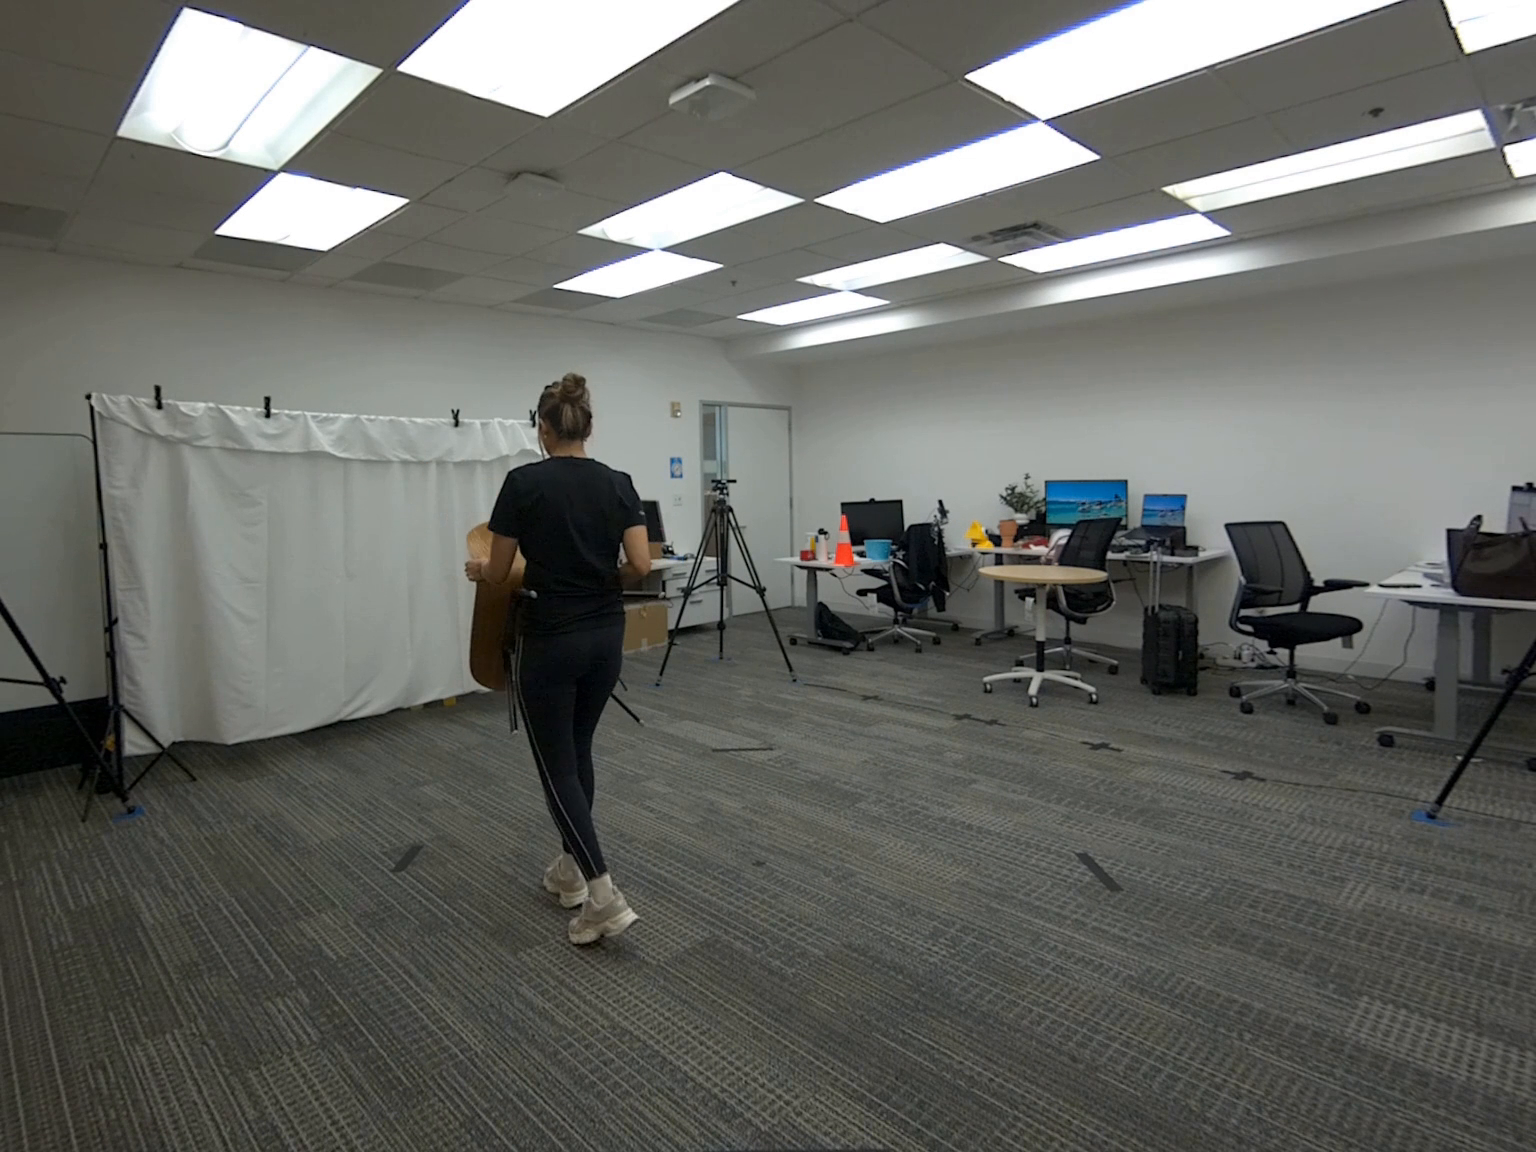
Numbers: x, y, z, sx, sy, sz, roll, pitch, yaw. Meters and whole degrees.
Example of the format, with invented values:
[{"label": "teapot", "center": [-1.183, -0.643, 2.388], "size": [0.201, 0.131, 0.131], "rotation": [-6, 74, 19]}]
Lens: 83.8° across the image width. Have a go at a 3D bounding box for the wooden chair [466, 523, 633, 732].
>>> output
[{"label": "wooden chair", "center": [-0.794, 0.164, 3.019], "size": [0.465, 0.518, 0.911], "rotation": [2, 17, -35]}]
